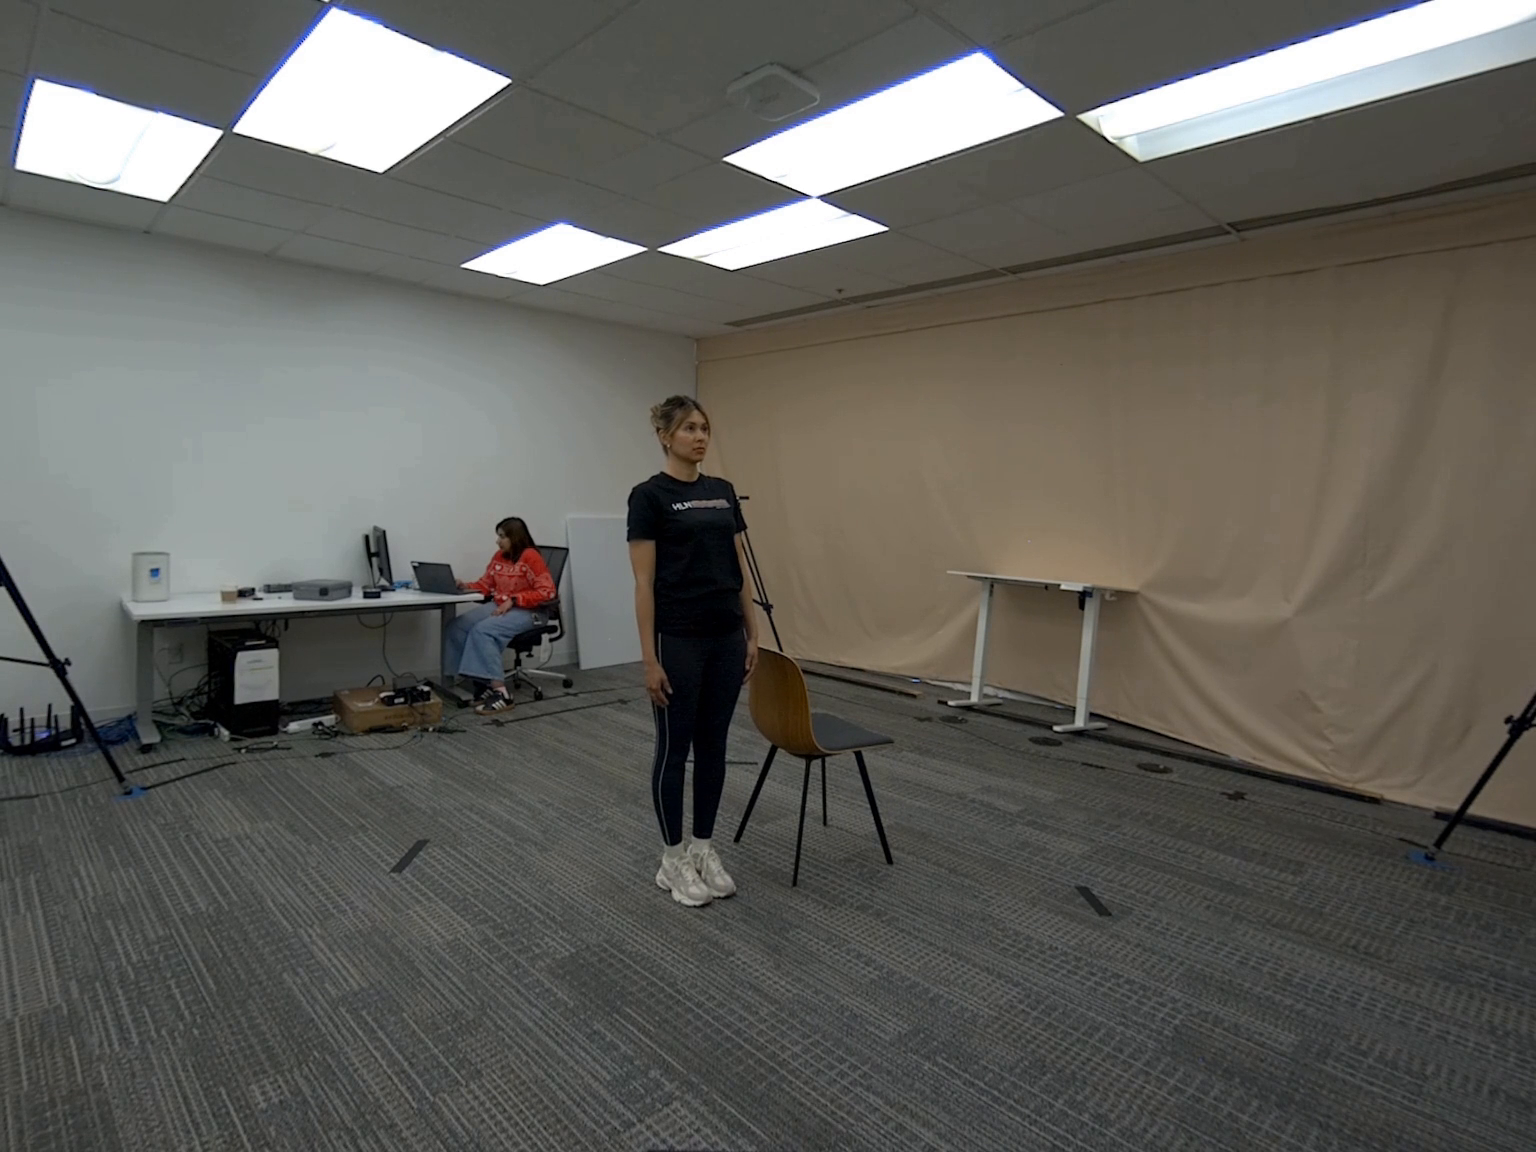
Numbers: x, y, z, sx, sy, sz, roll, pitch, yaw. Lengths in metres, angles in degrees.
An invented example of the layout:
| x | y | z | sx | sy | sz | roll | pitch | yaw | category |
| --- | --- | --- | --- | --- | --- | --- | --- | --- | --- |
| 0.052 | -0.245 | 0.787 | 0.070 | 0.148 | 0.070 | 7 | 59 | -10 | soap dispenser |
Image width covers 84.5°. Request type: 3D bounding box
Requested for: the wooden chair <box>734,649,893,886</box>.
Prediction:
| x | y | z | sx | sy | sz | roll | pitch | yaw | category |
| --- | --- | --- | --- | --- | --- | --- | --- | --- | --- |
| 0.186 | 0.669 | 3.298 | 0.513 | 0.874 | 0.489 | -5 | 5 | -29 | wooden chair |
